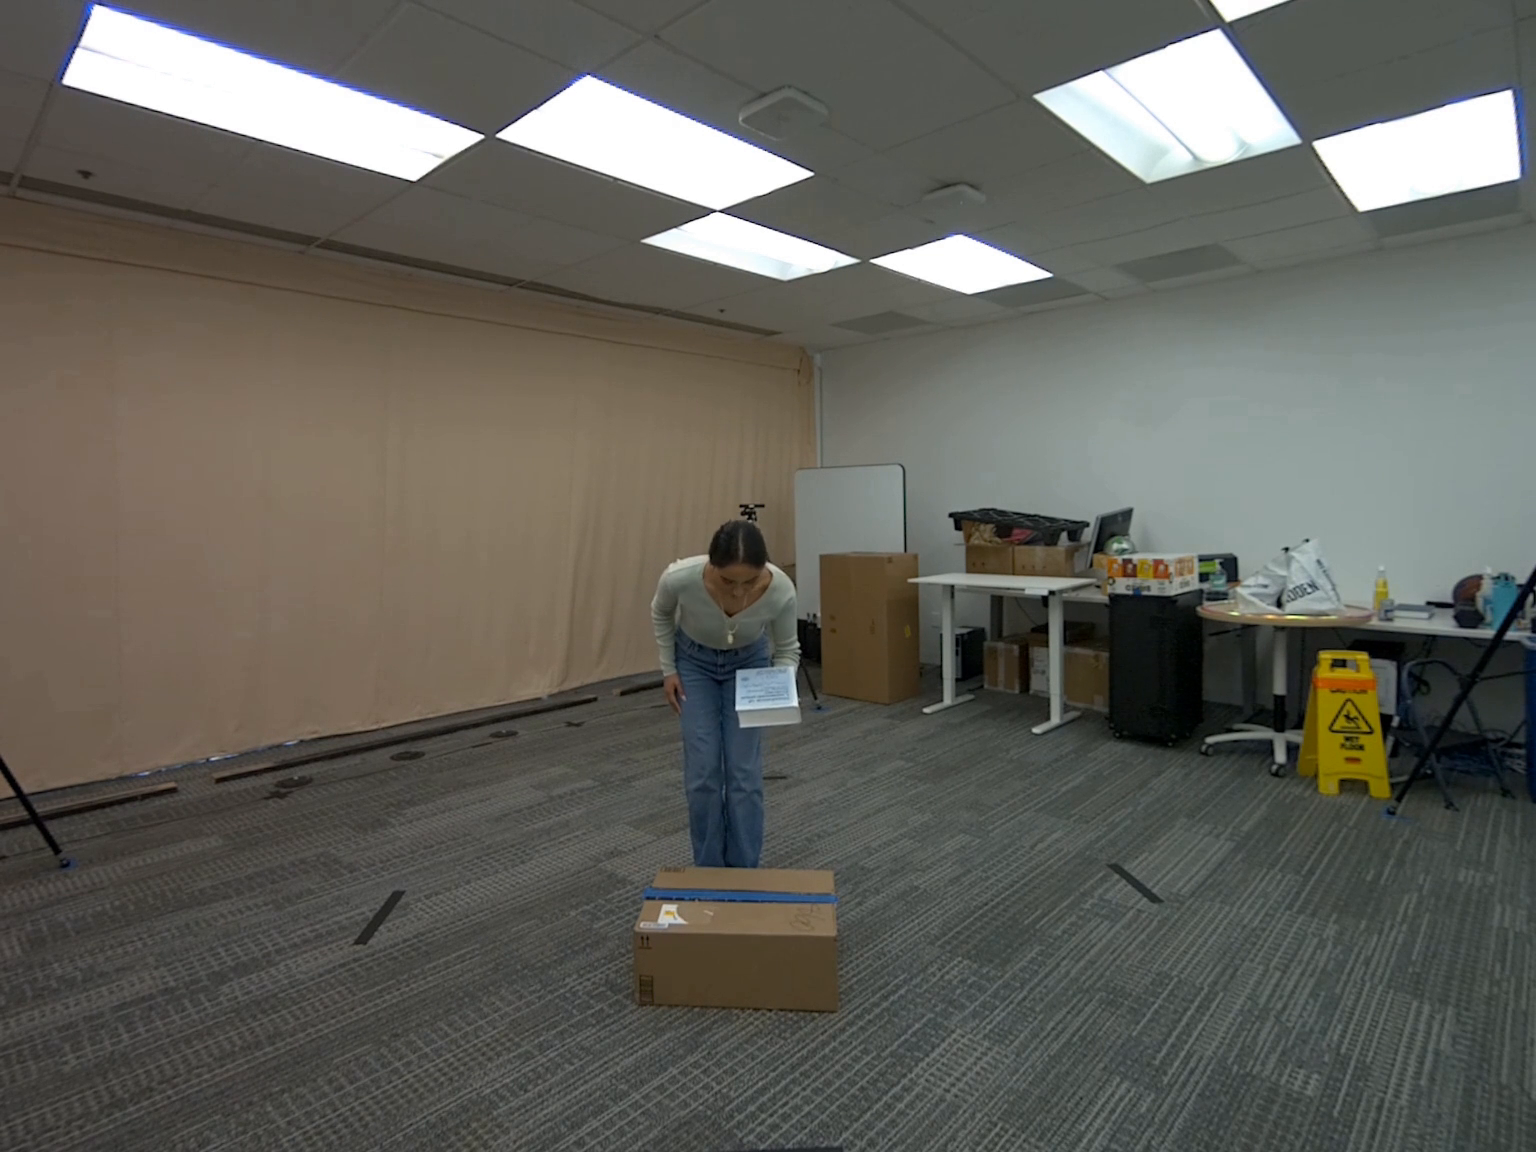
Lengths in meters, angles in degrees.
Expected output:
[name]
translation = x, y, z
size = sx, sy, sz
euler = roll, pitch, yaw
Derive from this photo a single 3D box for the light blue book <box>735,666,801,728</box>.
[light blue book]
translation = 0.000, 0.372, 2.615
size = 0.192, 0.058, 0.264
euler = -5, 20, 2
